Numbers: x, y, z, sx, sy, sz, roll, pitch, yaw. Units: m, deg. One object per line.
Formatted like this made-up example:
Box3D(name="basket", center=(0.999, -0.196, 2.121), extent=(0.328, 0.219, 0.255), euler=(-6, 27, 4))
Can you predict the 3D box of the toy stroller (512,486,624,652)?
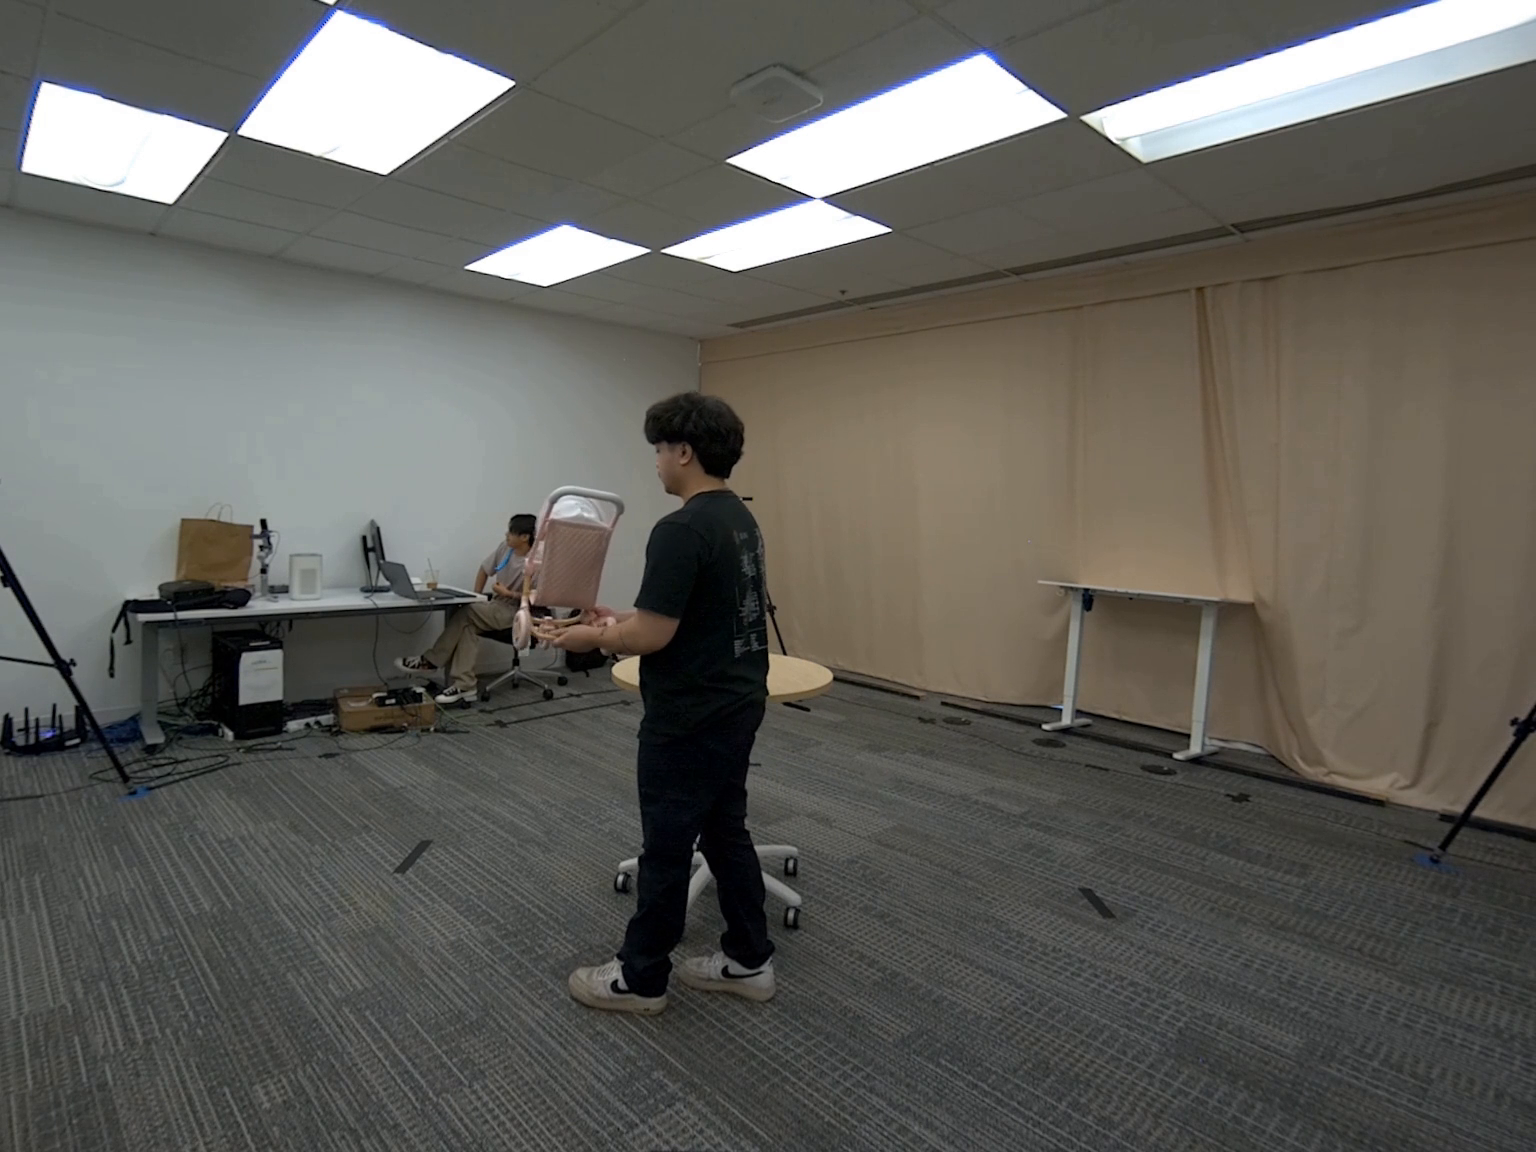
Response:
Box3D(name="toy stroller", center=(-0.588, -0.004, 2.436), extent=(0.276, 0.533, 0.349), euler=(7, 8, -23))
